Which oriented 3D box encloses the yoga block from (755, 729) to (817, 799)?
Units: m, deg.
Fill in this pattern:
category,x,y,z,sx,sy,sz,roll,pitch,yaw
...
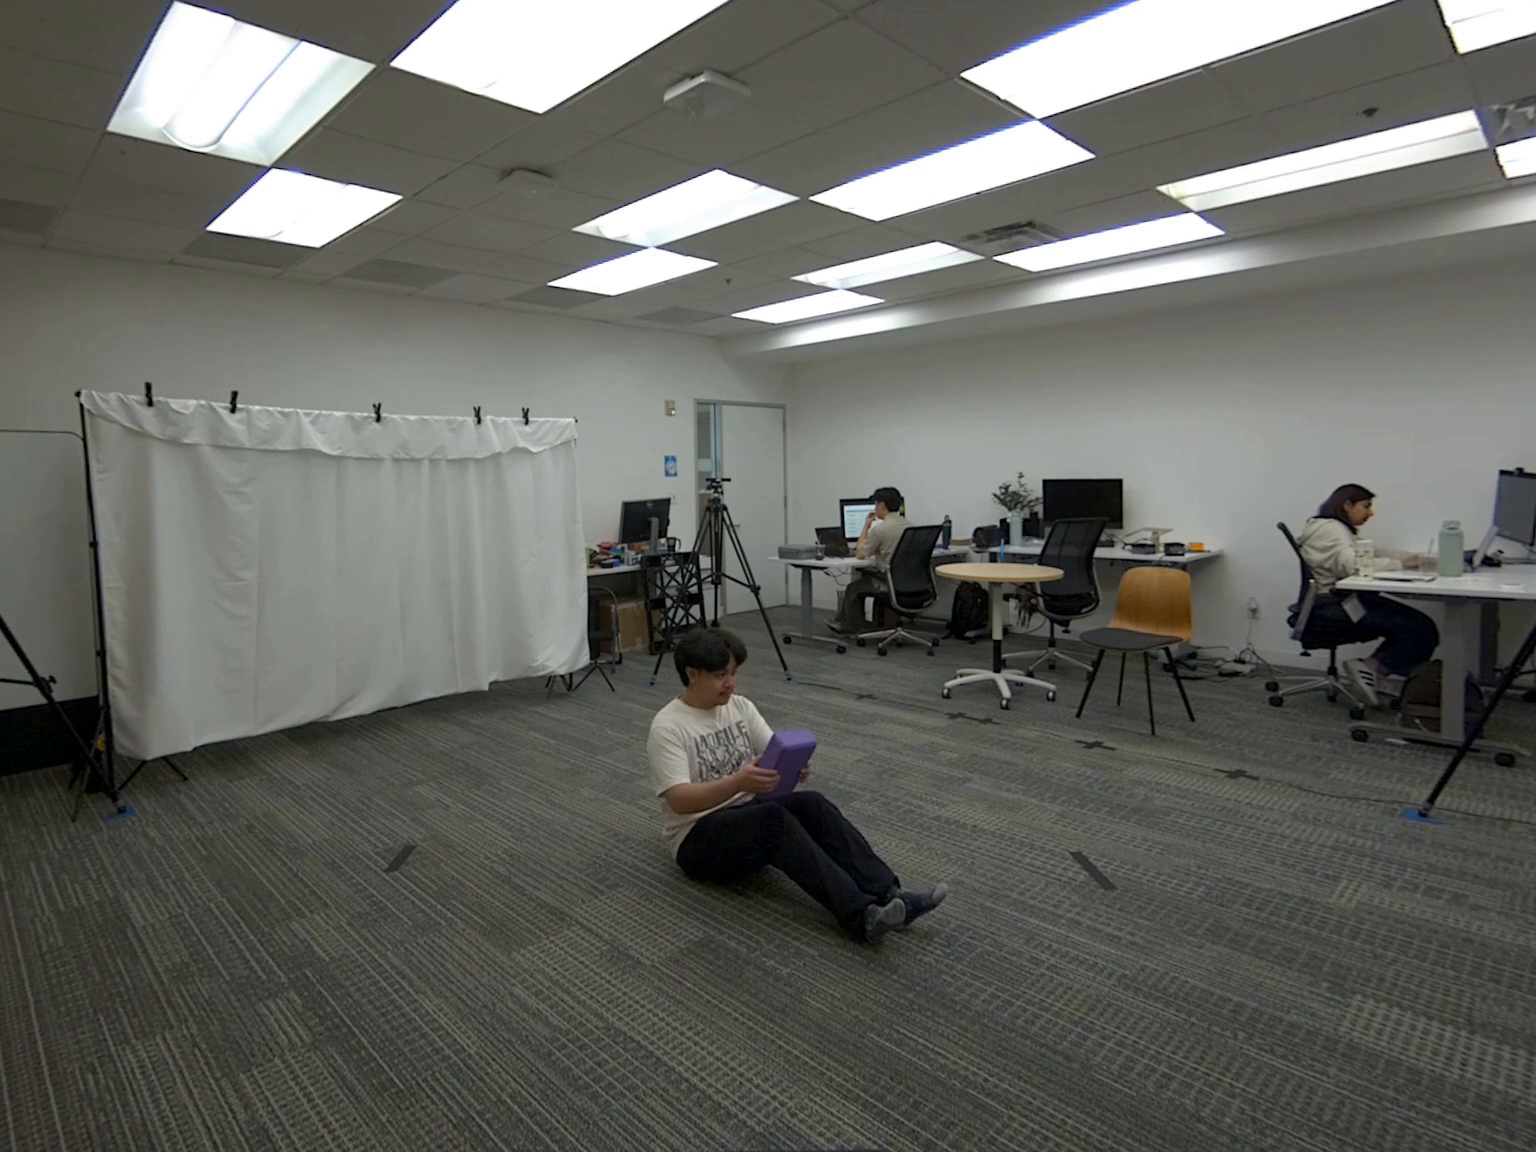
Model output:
category,x,y,z,sx,sy,sz,roll,pitch,yaw
yoga block,0.044,0.606,2.735,0.145,0.227,0.079,1,32,-38
